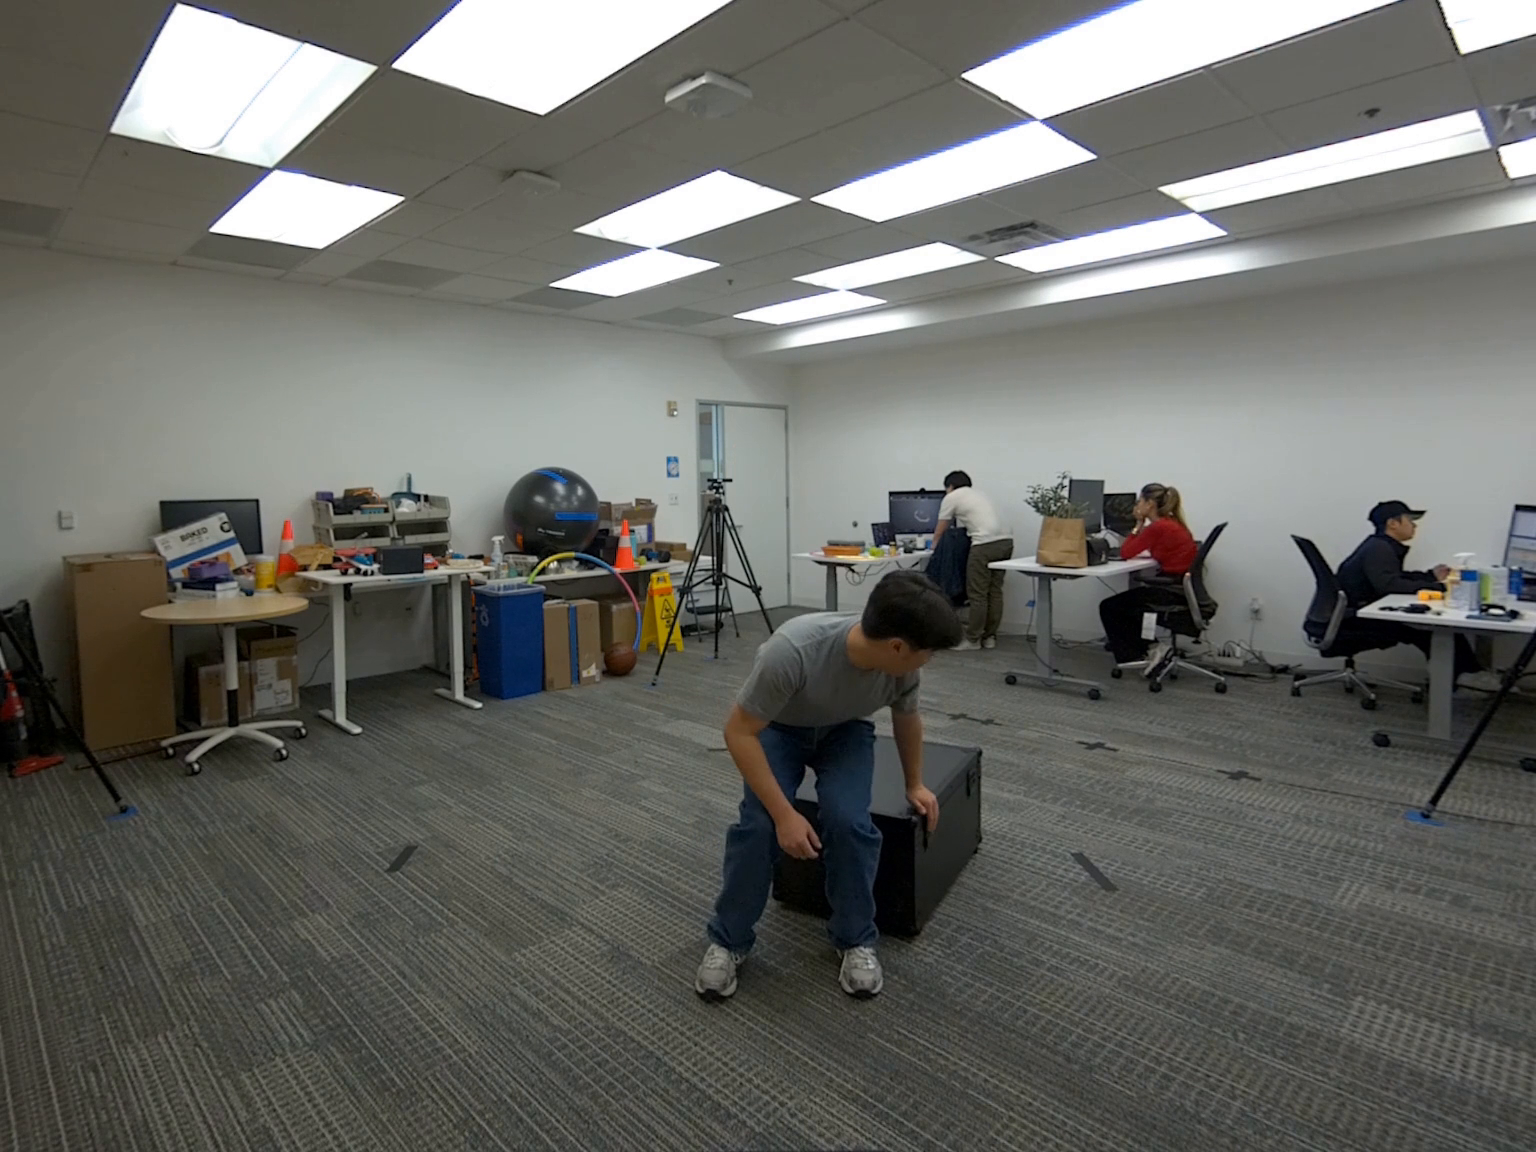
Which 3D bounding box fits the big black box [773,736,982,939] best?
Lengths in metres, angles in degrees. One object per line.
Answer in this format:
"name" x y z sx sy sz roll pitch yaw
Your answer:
"big black box" 0.428 0.858 3.014 0.534 0.394 0.844 1 7 29
